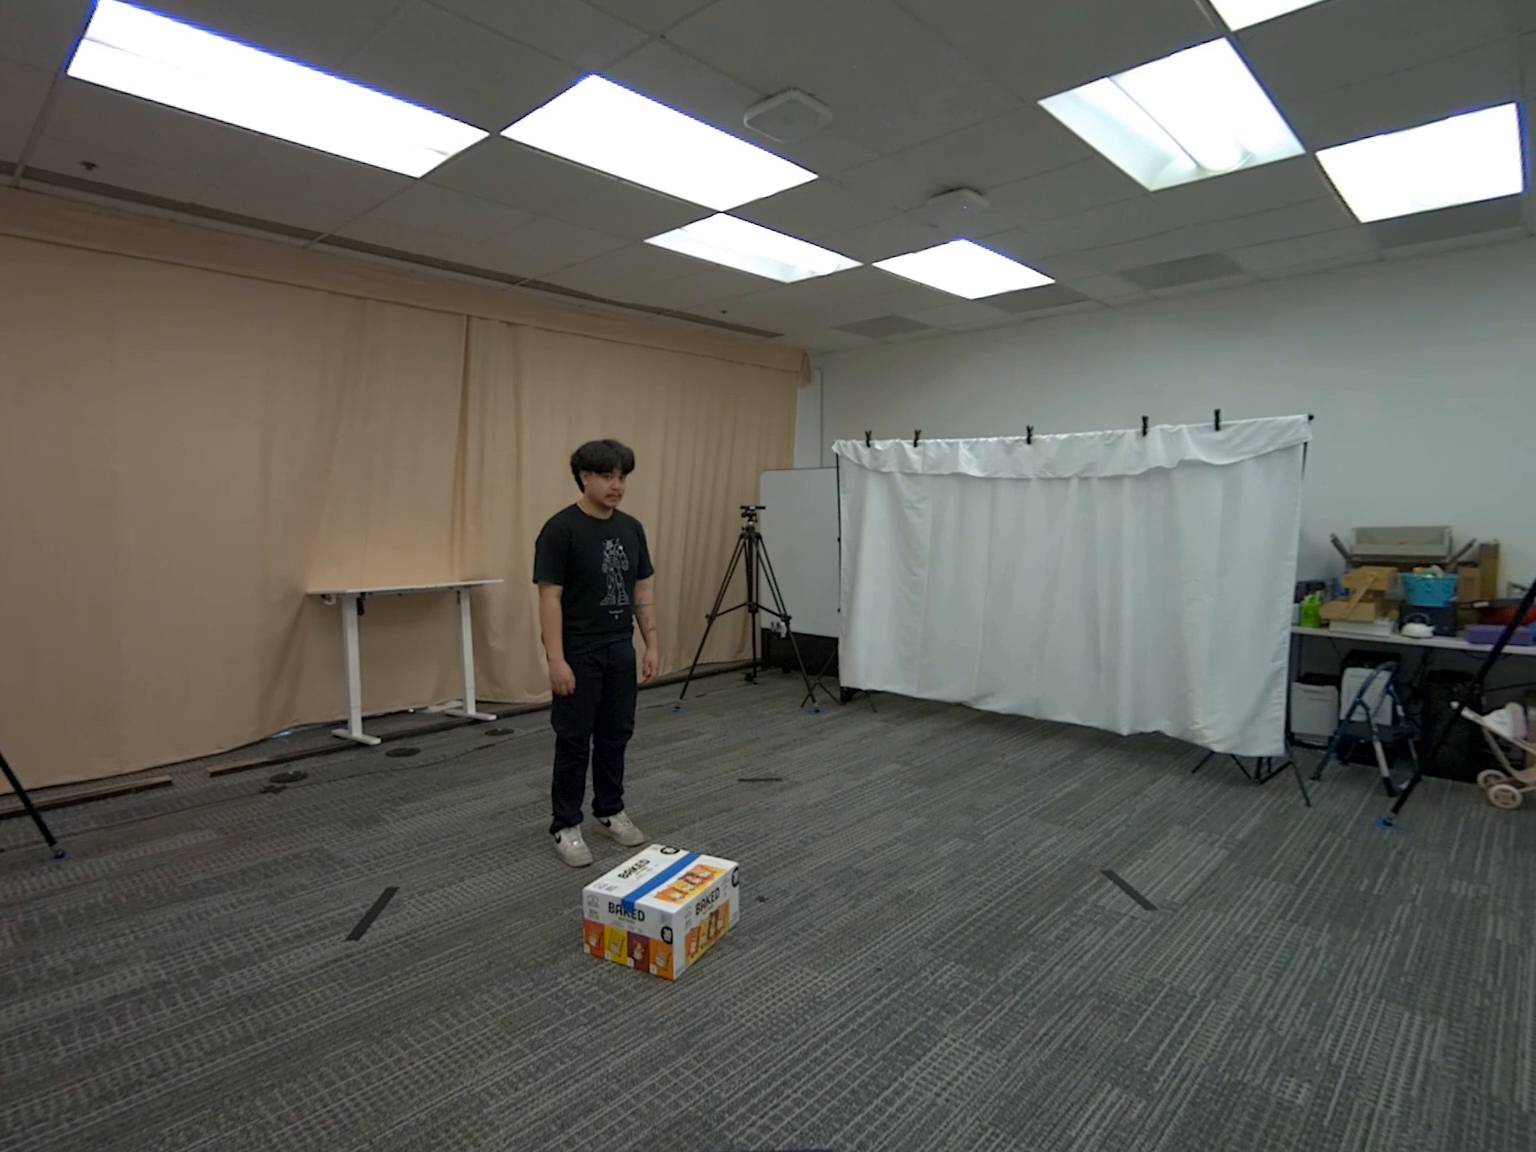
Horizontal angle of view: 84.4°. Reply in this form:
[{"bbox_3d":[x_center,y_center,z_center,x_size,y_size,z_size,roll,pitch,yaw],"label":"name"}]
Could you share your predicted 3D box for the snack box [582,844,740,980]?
[{"bbox_3d":[-0.334,1.065,2.714,0.350,0.205,0.395,2,5,28],"label":"snack box"}]
